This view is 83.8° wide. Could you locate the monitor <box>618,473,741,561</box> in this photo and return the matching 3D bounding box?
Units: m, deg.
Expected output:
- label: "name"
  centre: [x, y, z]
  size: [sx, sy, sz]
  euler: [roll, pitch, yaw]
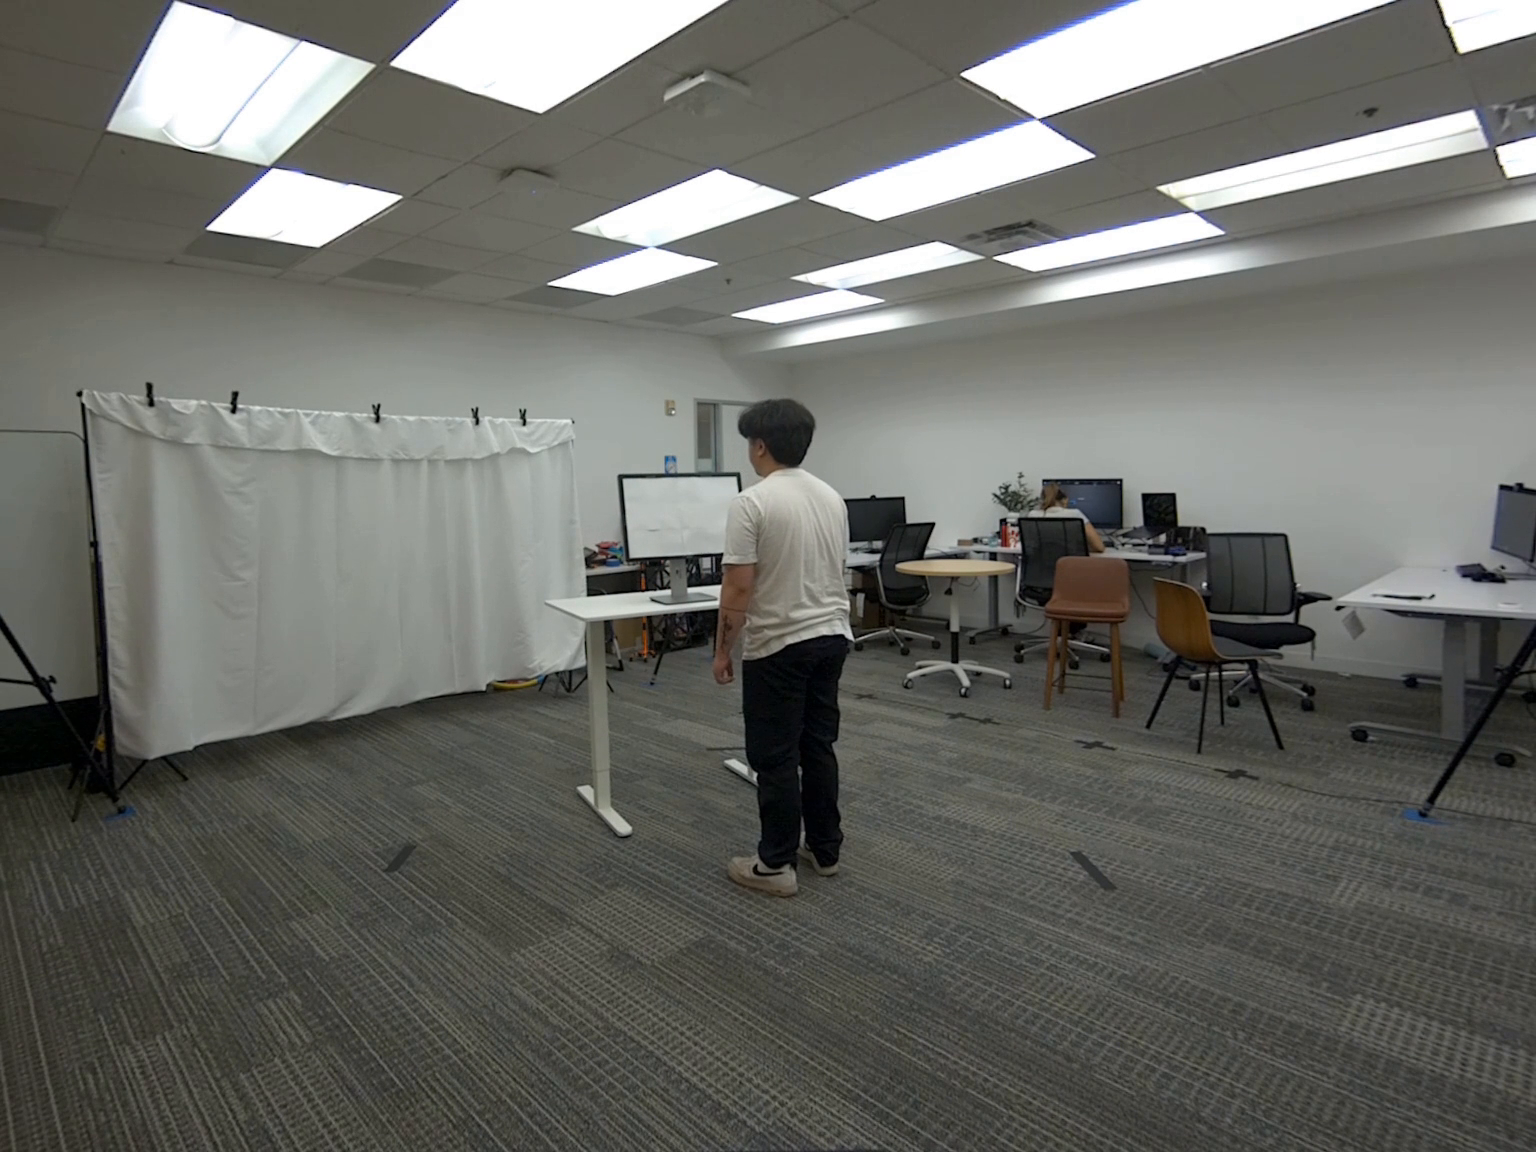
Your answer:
- label: "monitor"
  centre: [-0.383, -0.162, 3.656]
  size: [0.553, 0.554, 0.215]
  euler: [-4, 0, -27]
